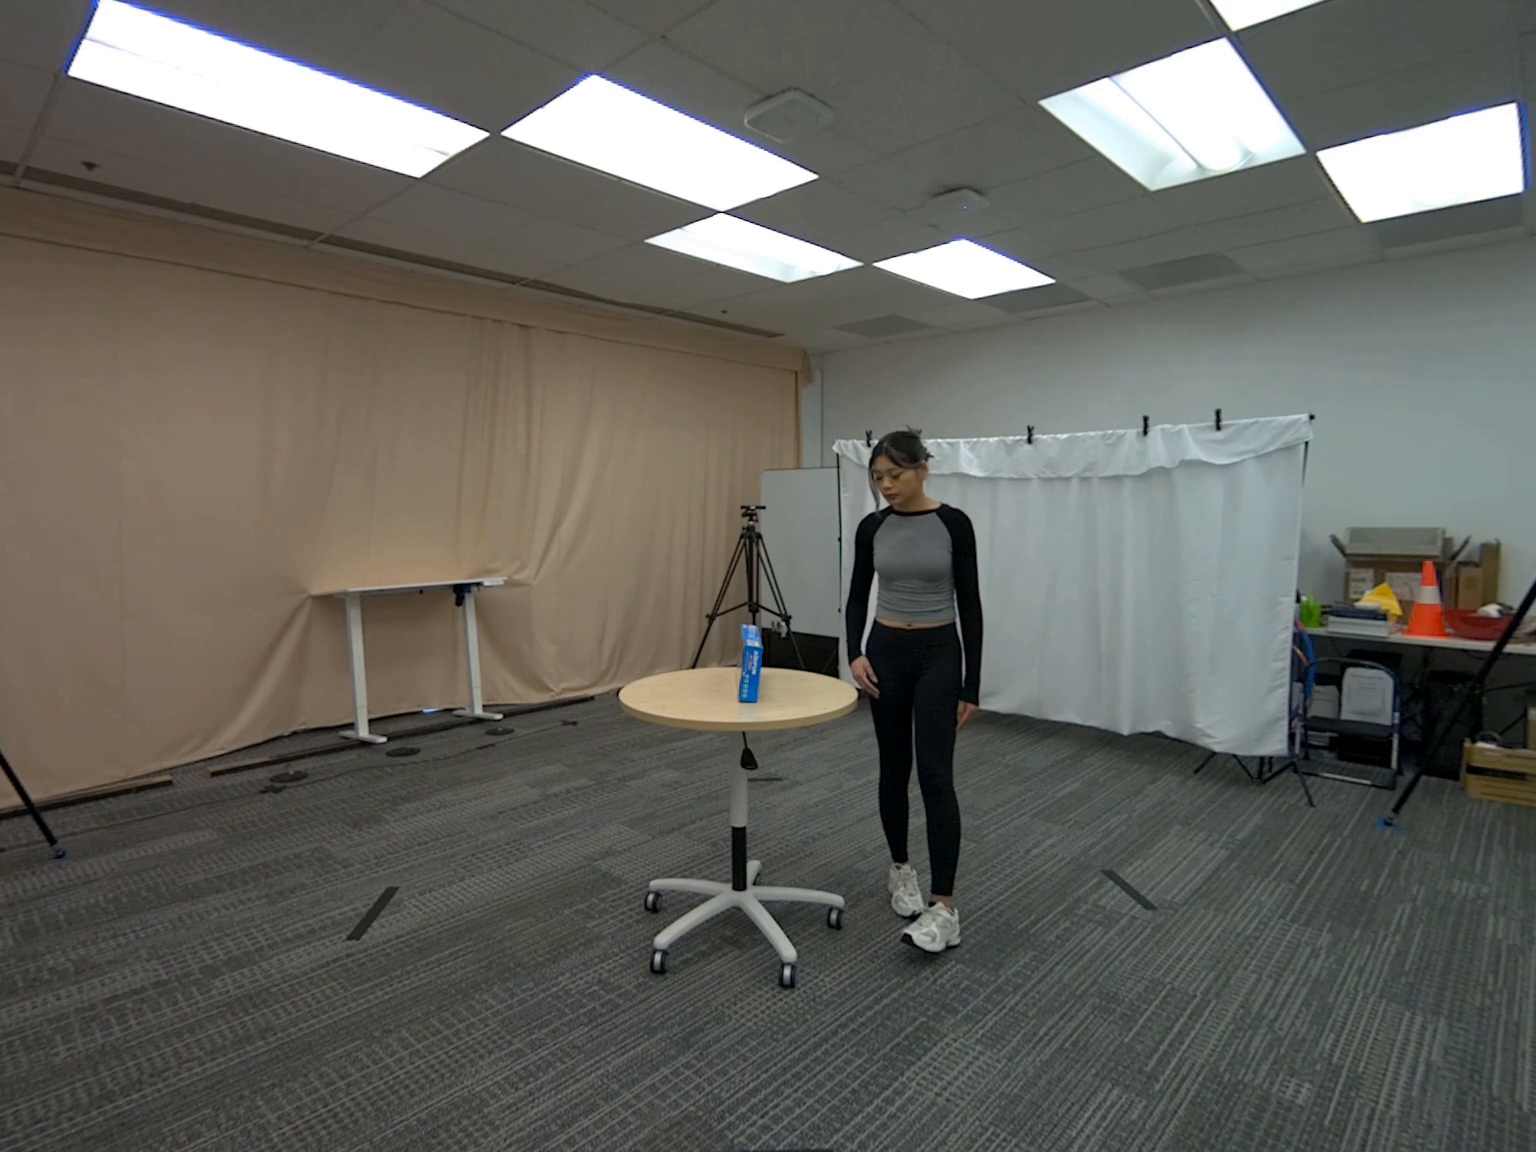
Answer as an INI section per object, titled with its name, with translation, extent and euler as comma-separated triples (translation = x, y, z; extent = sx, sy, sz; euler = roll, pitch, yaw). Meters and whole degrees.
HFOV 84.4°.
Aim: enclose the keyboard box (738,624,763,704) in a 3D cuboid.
[keyboard box]
translation = -0.058, 0.274, 2.771
extent = 0.059, 0.176, 0.438
euler = 5, 4, -4
